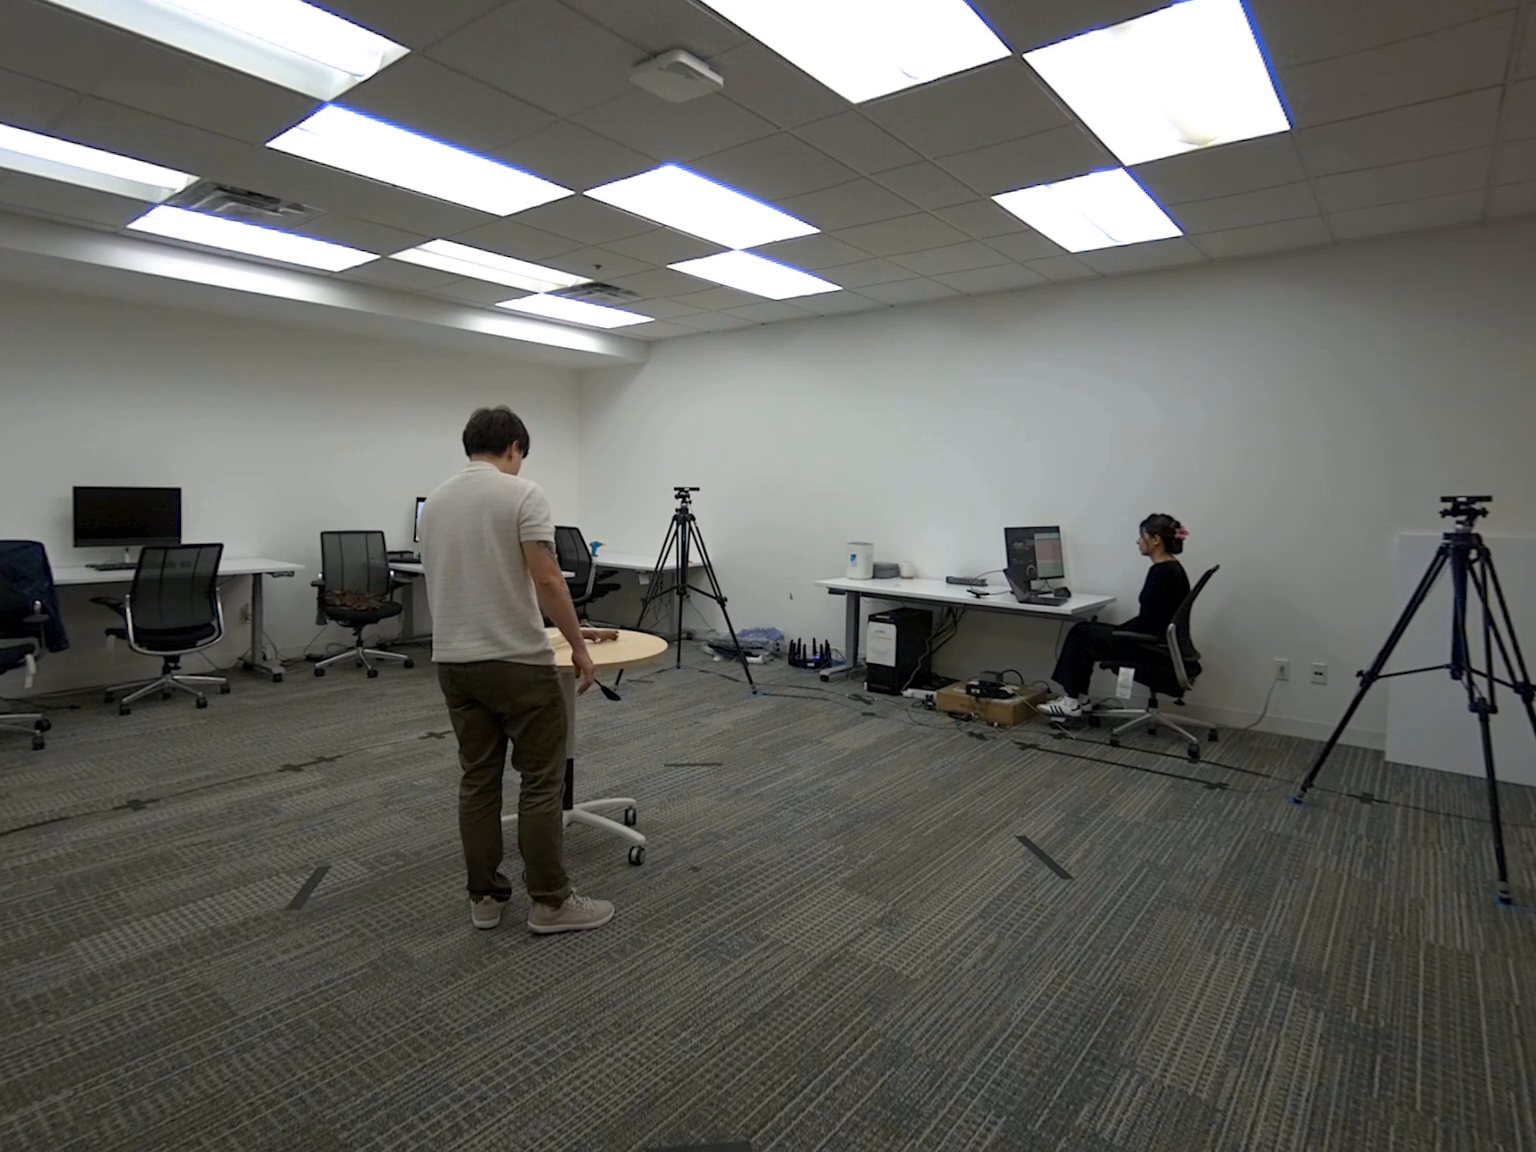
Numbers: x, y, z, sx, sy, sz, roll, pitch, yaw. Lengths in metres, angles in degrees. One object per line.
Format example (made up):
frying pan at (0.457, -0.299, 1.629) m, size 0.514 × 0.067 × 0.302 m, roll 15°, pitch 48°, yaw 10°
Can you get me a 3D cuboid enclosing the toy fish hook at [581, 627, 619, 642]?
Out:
toy fish hook at (-0.823, 0.202, 3.270) m, size 0.491 × 0.048 × 0.234 m, roll 0°, pitch 39°, yaw -40°
